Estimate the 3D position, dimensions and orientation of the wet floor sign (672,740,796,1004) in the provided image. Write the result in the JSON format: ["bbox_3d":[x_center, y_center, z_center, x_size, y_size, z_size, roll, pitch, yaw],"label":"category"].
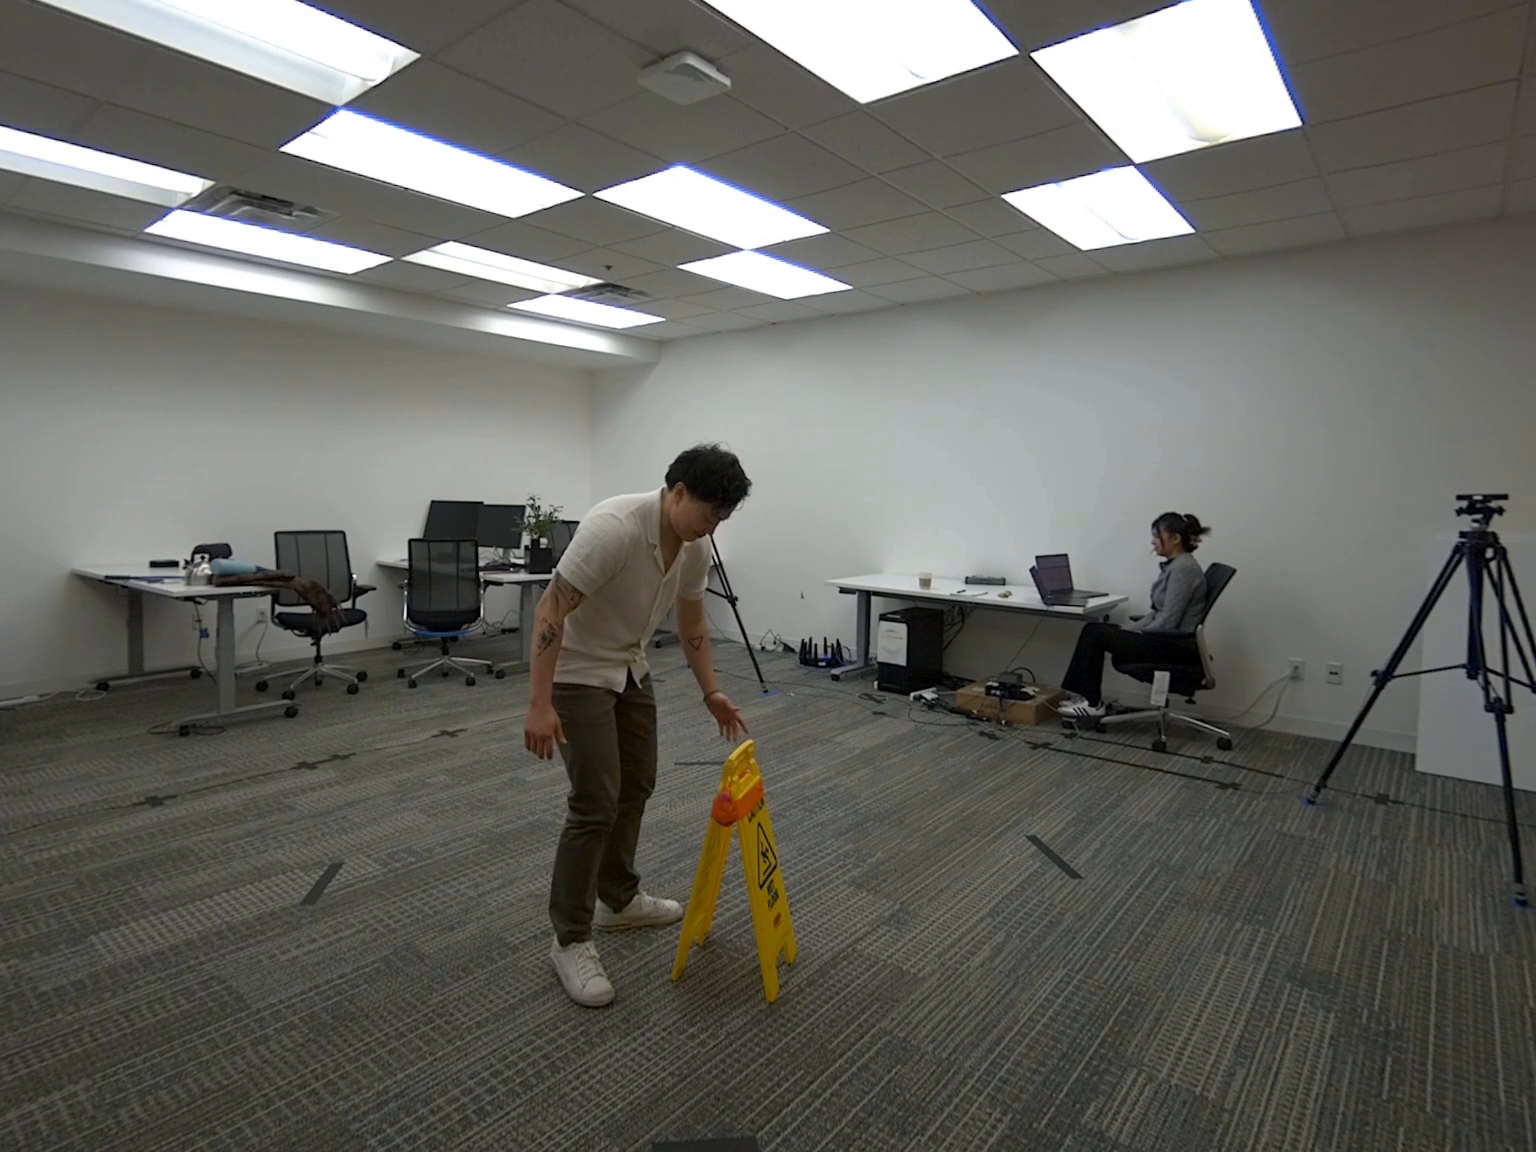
[{"bbox_3d":[-0.091,0.813,2.448,0.295,0.643,0.278,3,5,17],"label":"wet floor sign"}]
